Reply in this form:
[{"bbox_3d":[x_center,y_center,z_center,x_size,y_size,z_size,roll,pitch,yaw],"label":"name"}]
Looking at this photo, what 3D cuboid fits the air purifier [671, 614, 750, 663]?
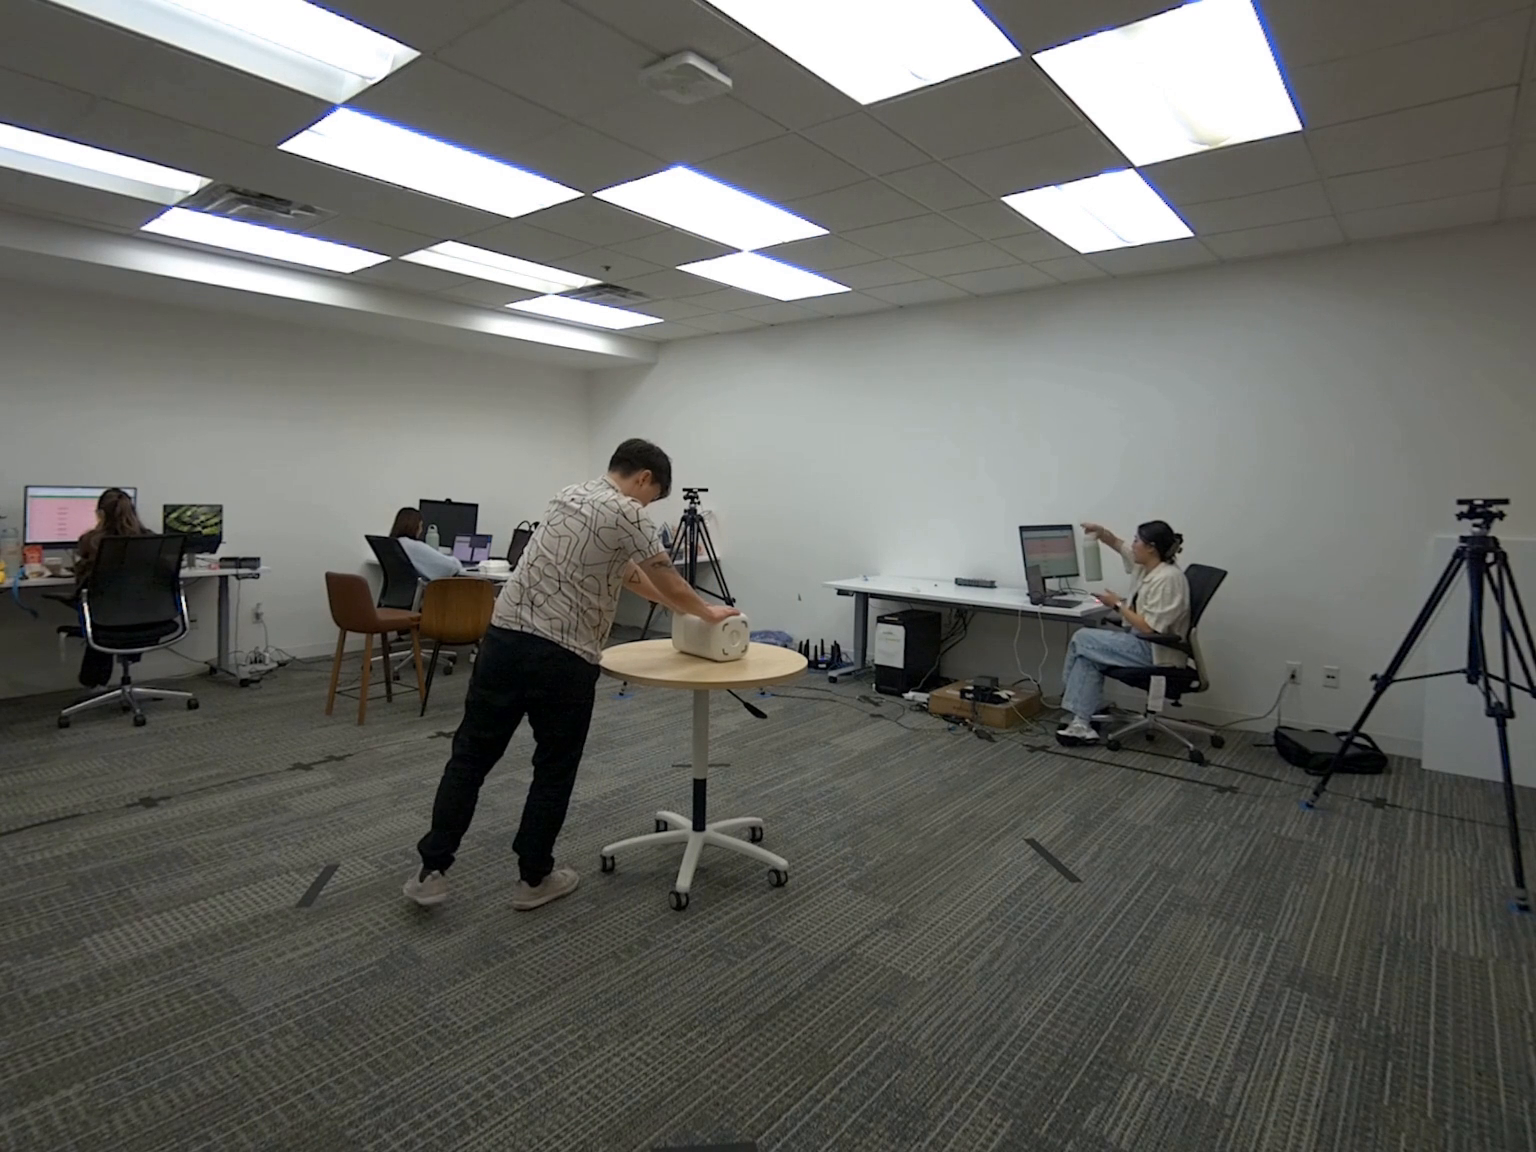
[{"bbox_3d":[-0.219,0.204,3.121,0.166,0.171,0.274,-4,7,-41],"label":"air purifier"}]
